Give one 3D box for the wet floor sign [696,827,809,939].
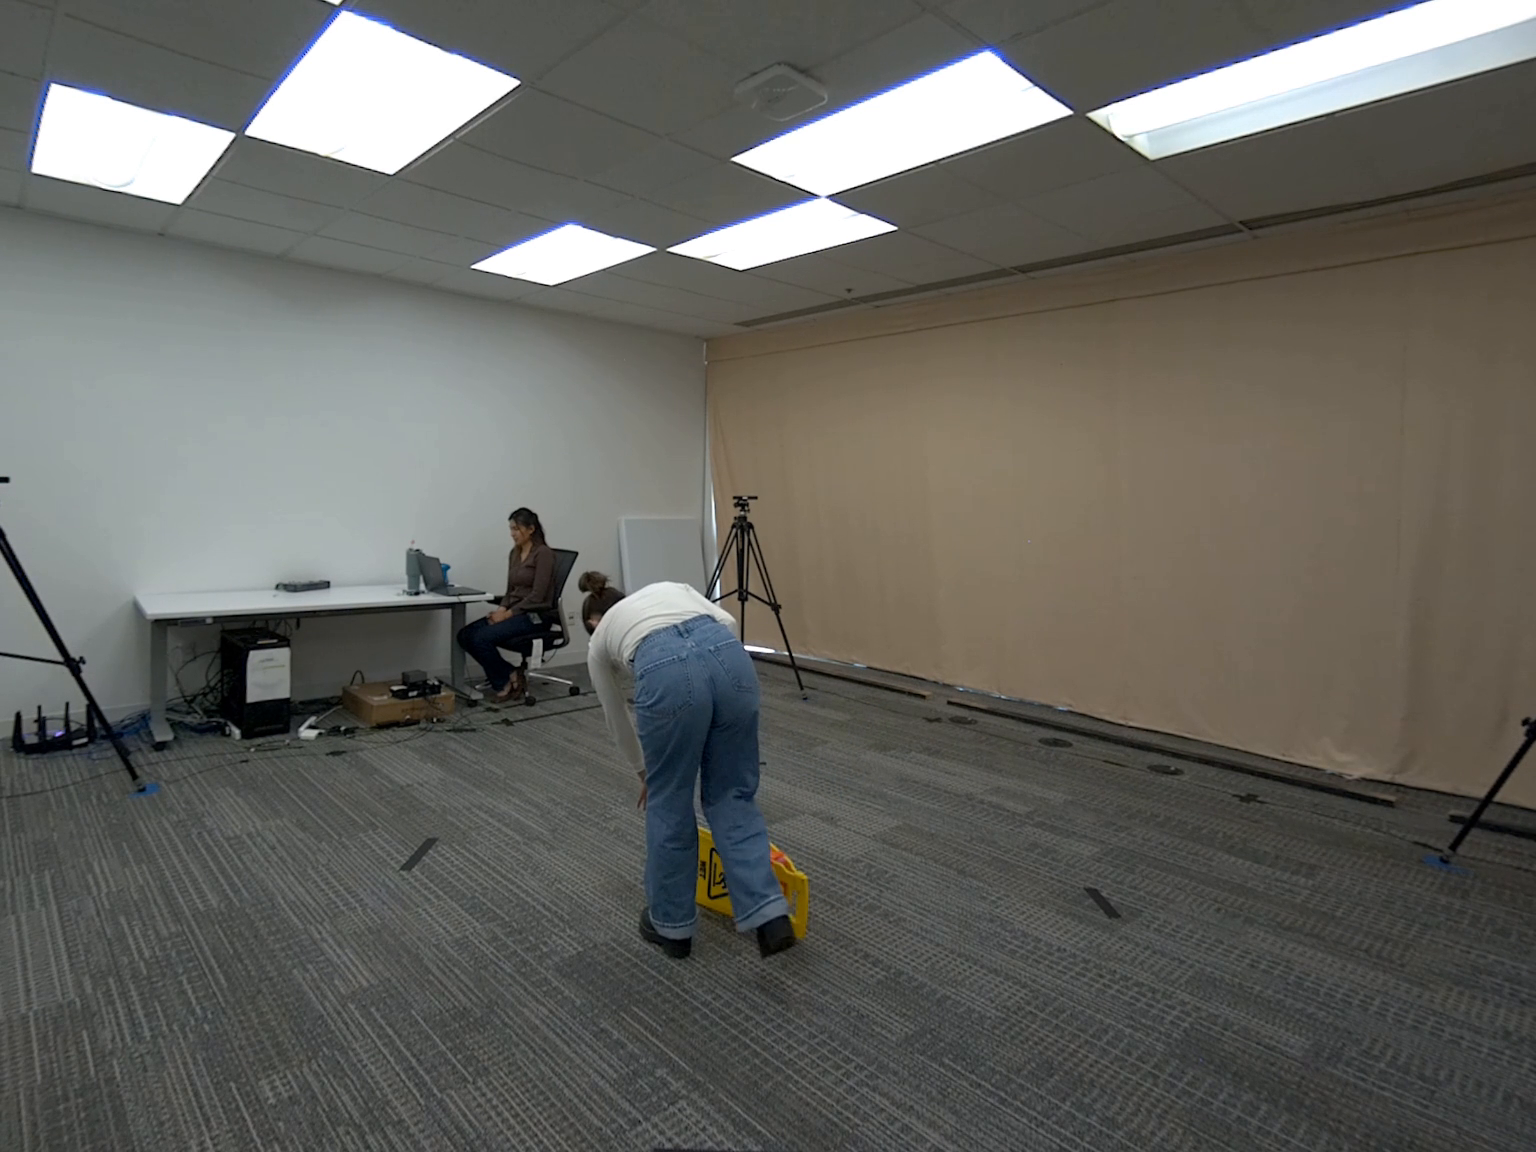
[{"bbox_3d":[-0.107,0.999,2.854,0.283,0.281,0.663,-3,8,-42],"label":"wet floor sign"}]
